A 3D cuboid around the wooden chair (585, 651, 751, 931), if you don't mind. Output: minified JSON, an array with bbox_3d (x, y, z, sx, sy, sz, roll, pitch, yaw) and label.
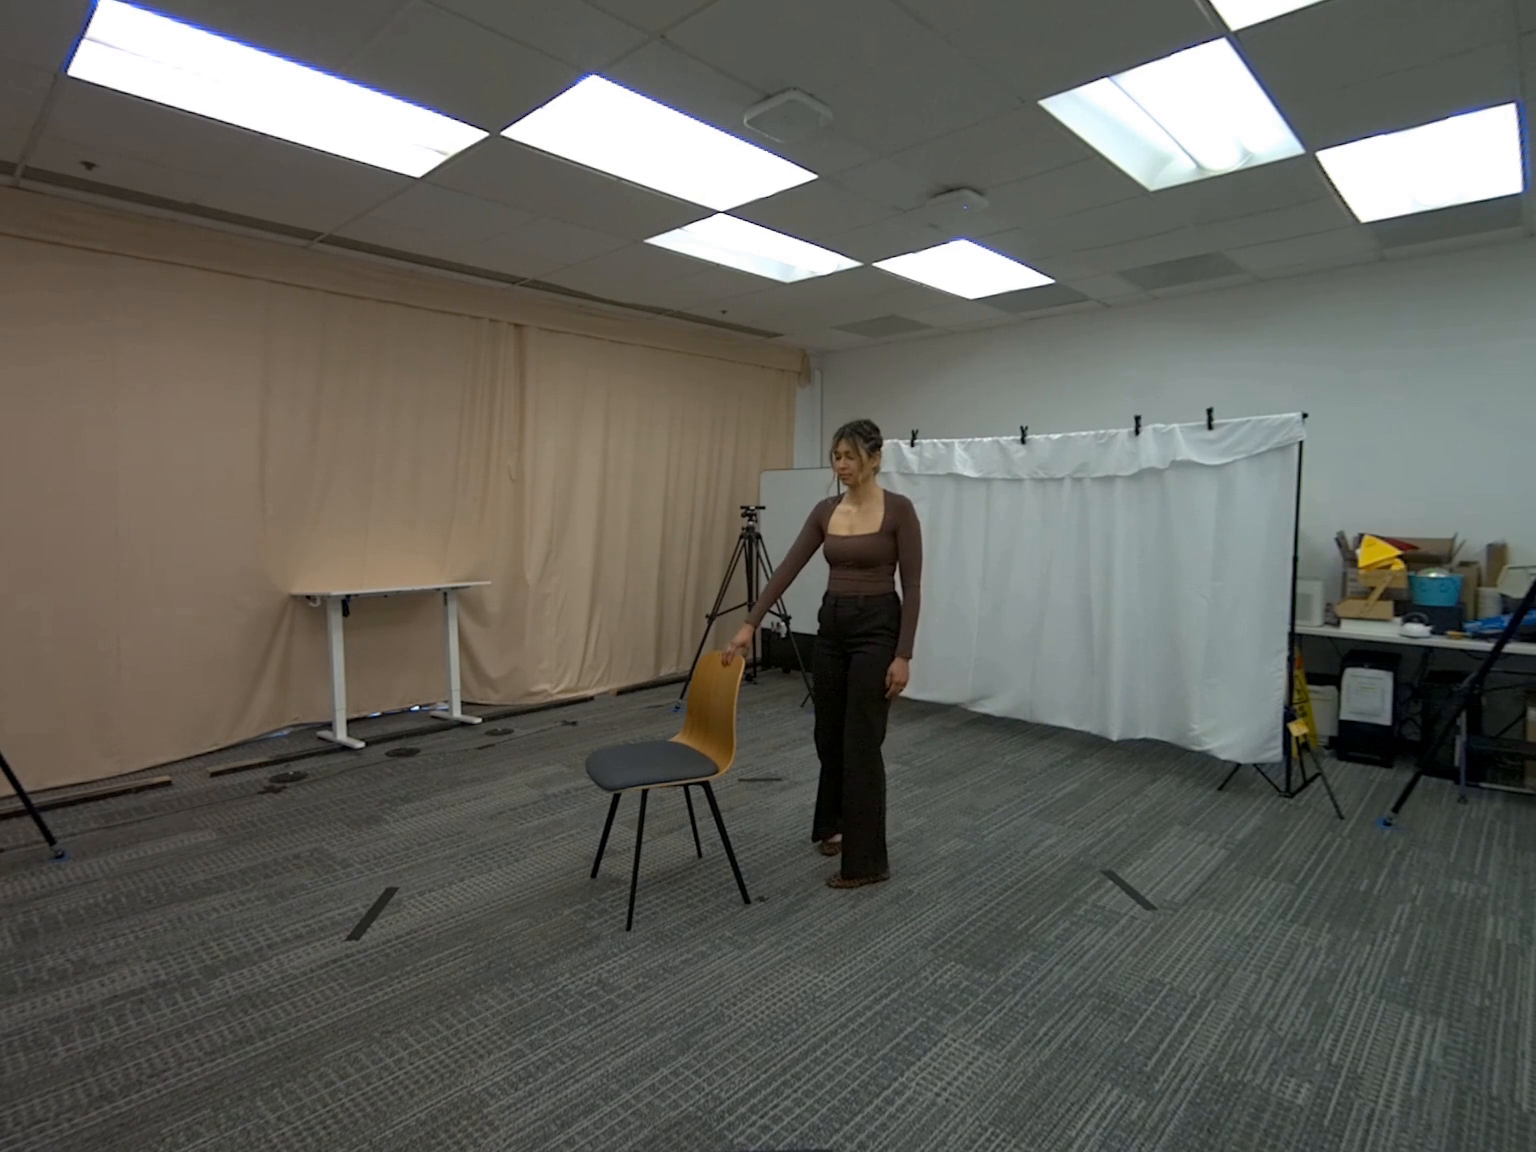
[{"bbox_3d":[-0.370,0.716,3.022,0.510,0.877,0.491,3,2,-26],"label":"wooden chair"}]
